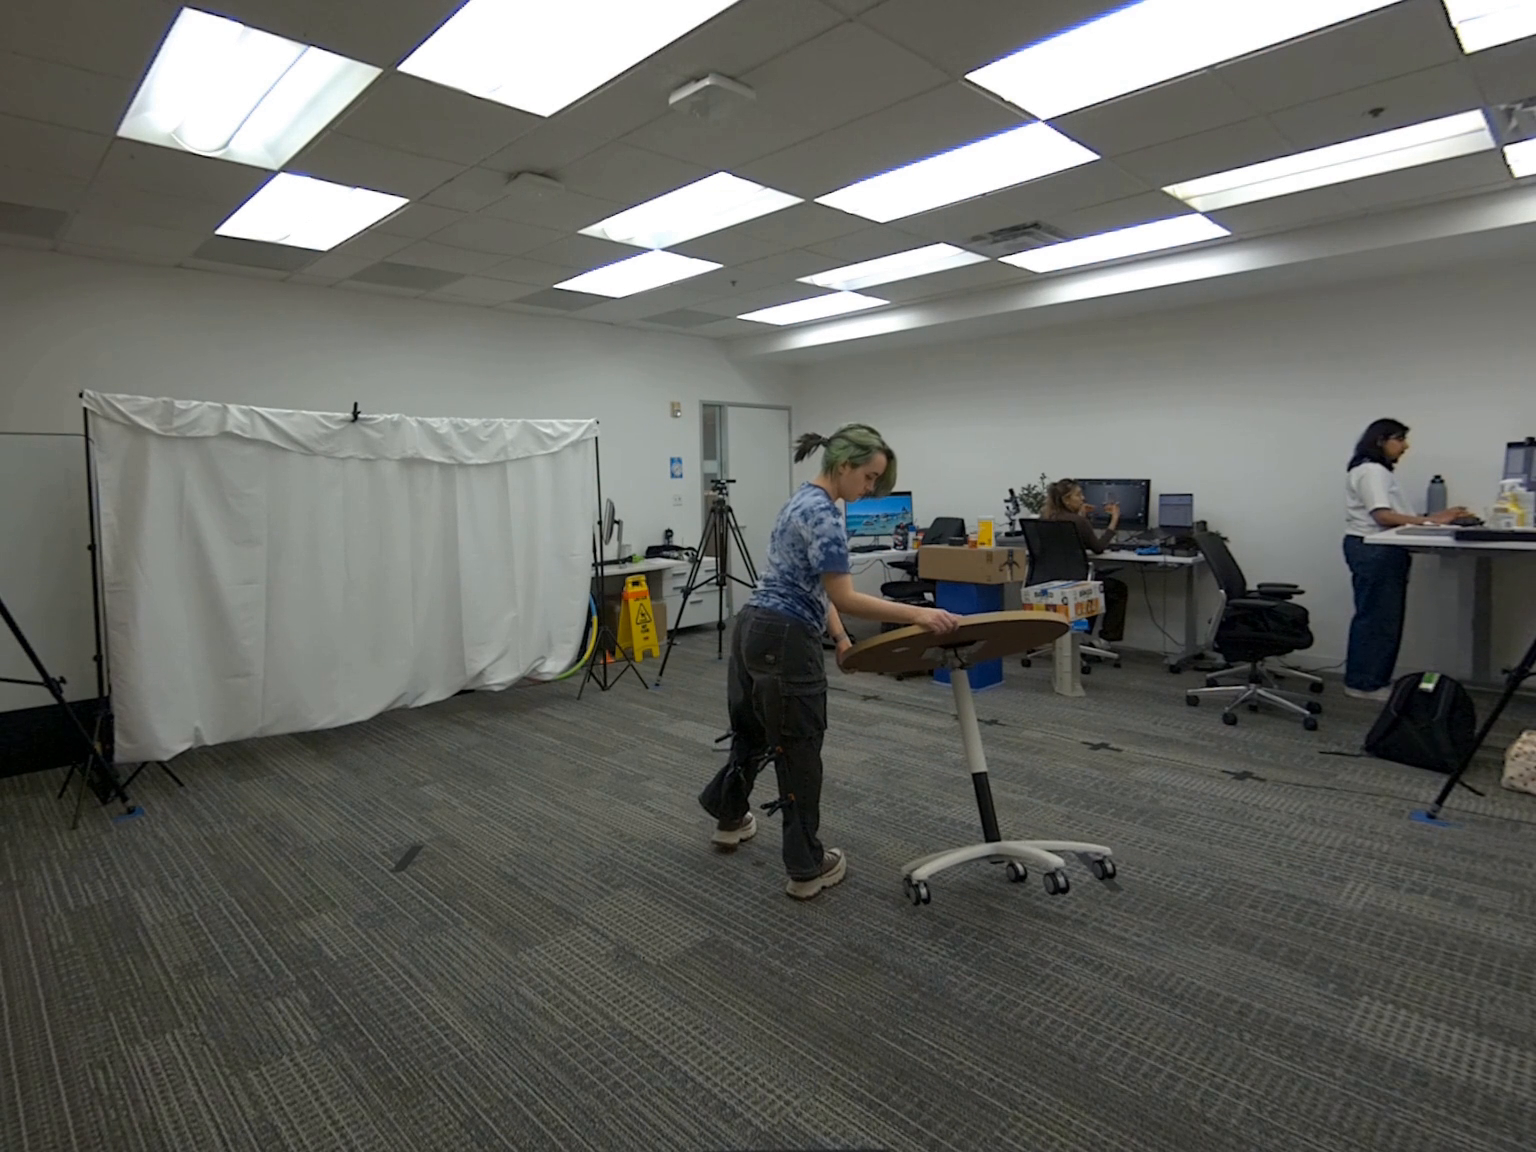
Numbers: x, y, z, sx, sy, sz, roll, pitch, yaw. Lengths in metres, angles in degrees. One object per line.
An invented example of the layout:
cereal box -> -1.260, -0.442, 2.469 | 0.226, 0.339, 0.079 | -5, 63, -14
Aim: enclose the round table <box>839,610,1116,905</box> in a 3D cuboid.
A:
round table -> 0.690, 0.604, 2.790 | 0.762, 0.809, 0.752 | -6, -18, -4
